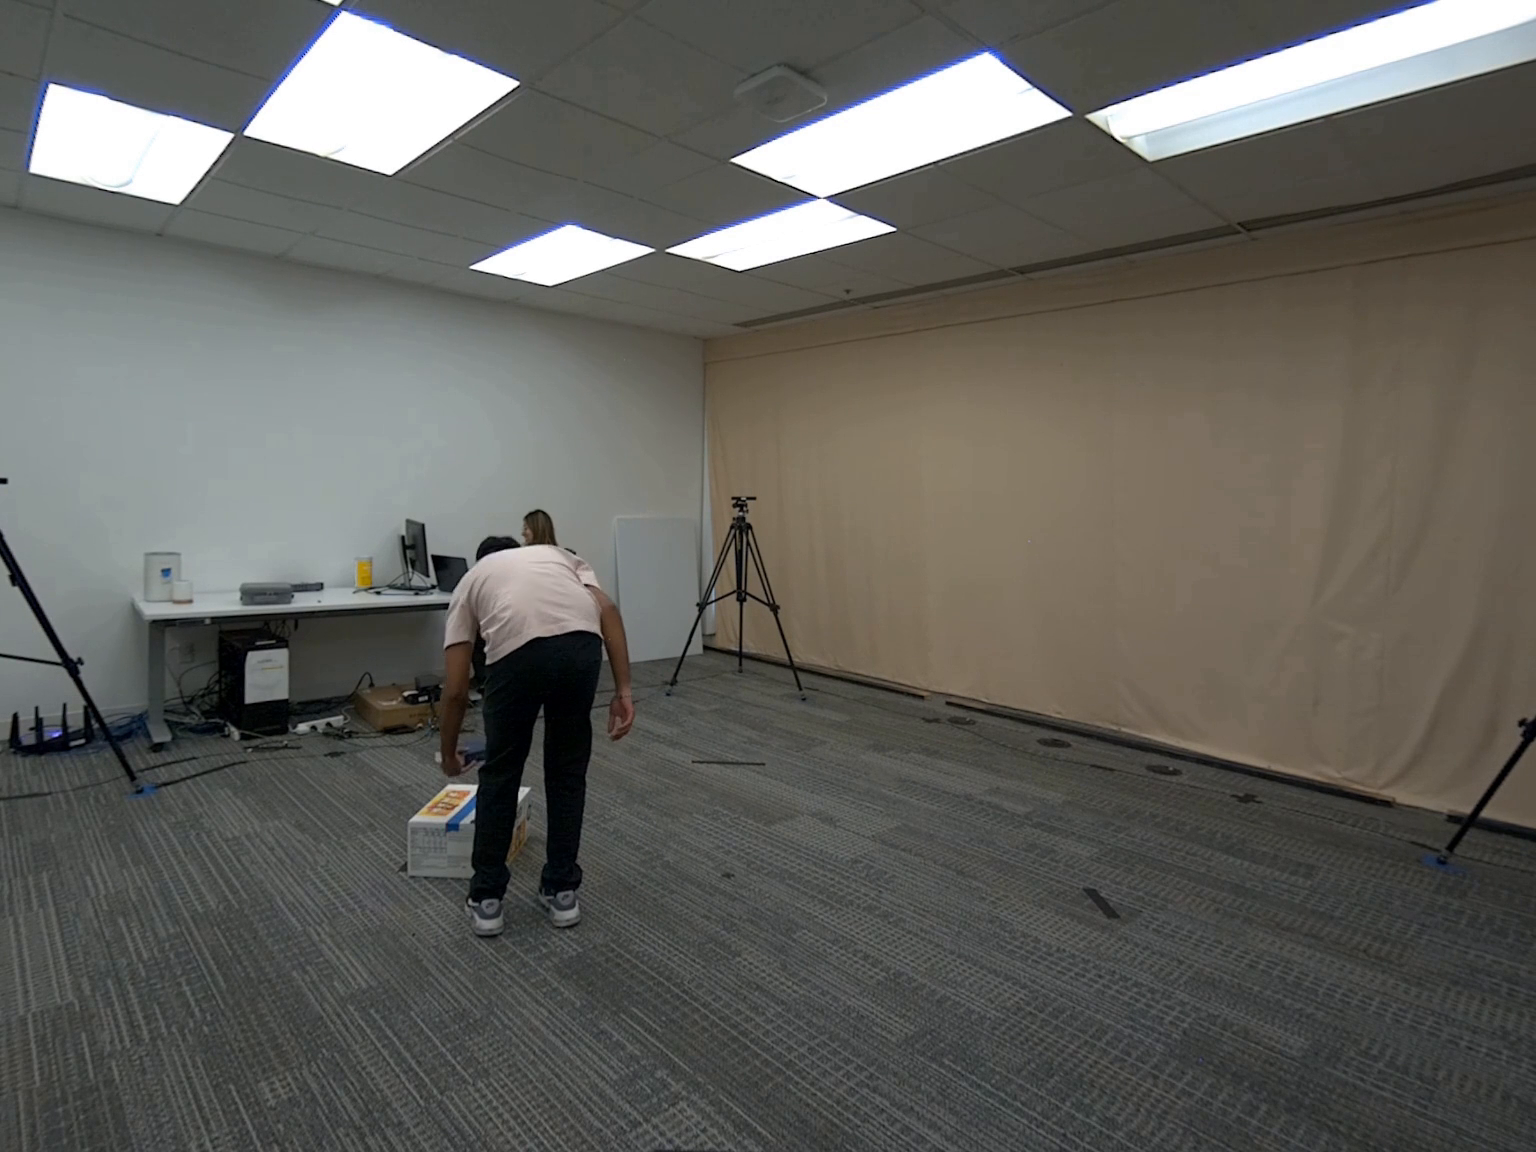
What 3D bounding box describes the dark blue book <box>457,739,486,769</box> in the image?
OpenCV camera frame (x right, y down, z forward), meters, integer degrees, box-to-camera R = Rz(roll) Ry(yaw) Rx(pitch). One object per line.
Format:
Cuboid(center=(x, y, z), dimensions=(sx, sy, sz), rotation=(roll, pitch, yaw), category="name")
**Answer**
Cuboid(center=(-1.076, 0.641, 3.050), dimensions=(0.166, 0.045, 0.240), rotation=(-3, -2, 30), category="dark blue book")
